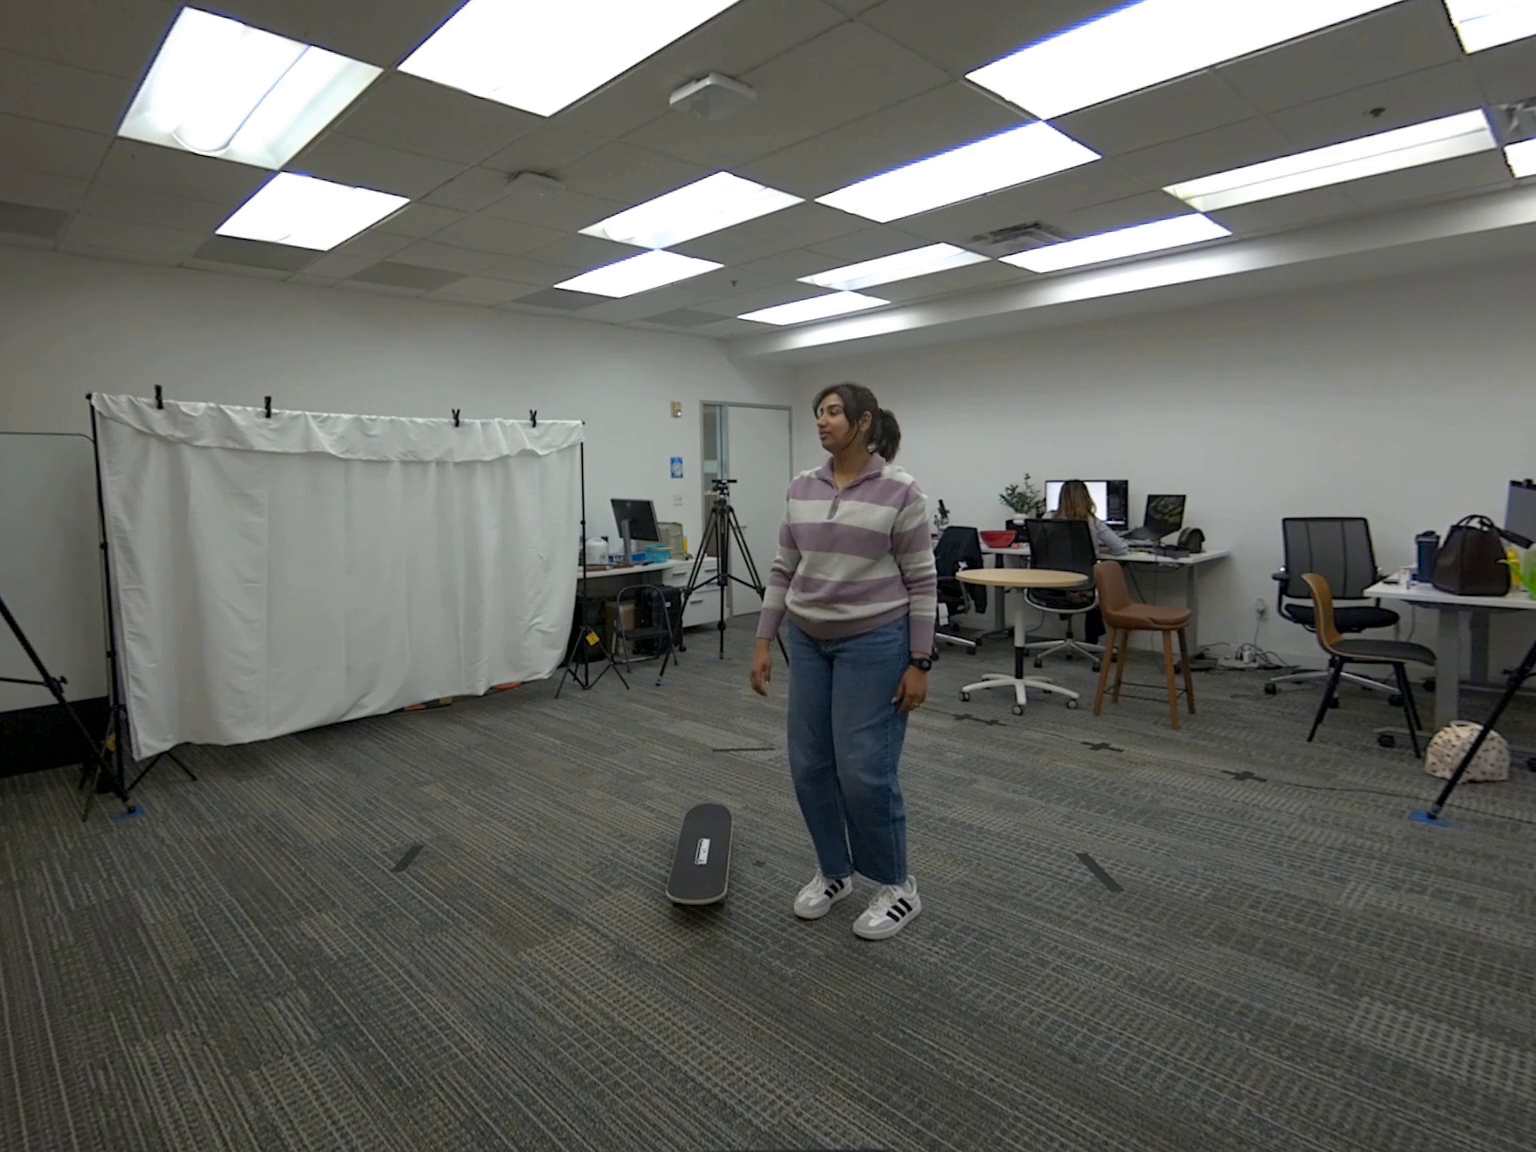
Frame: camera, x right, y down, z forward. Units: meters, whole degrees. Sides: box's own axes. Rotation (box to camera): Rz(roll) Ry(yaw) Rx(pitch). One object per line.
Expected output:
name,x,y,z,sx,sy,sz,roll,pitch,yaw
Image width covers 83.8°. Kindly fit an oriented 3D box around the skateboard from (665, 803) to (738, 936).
skateboard,-0.222,1.006,3.026,0.194,0.110,0.788,-1,6,0
